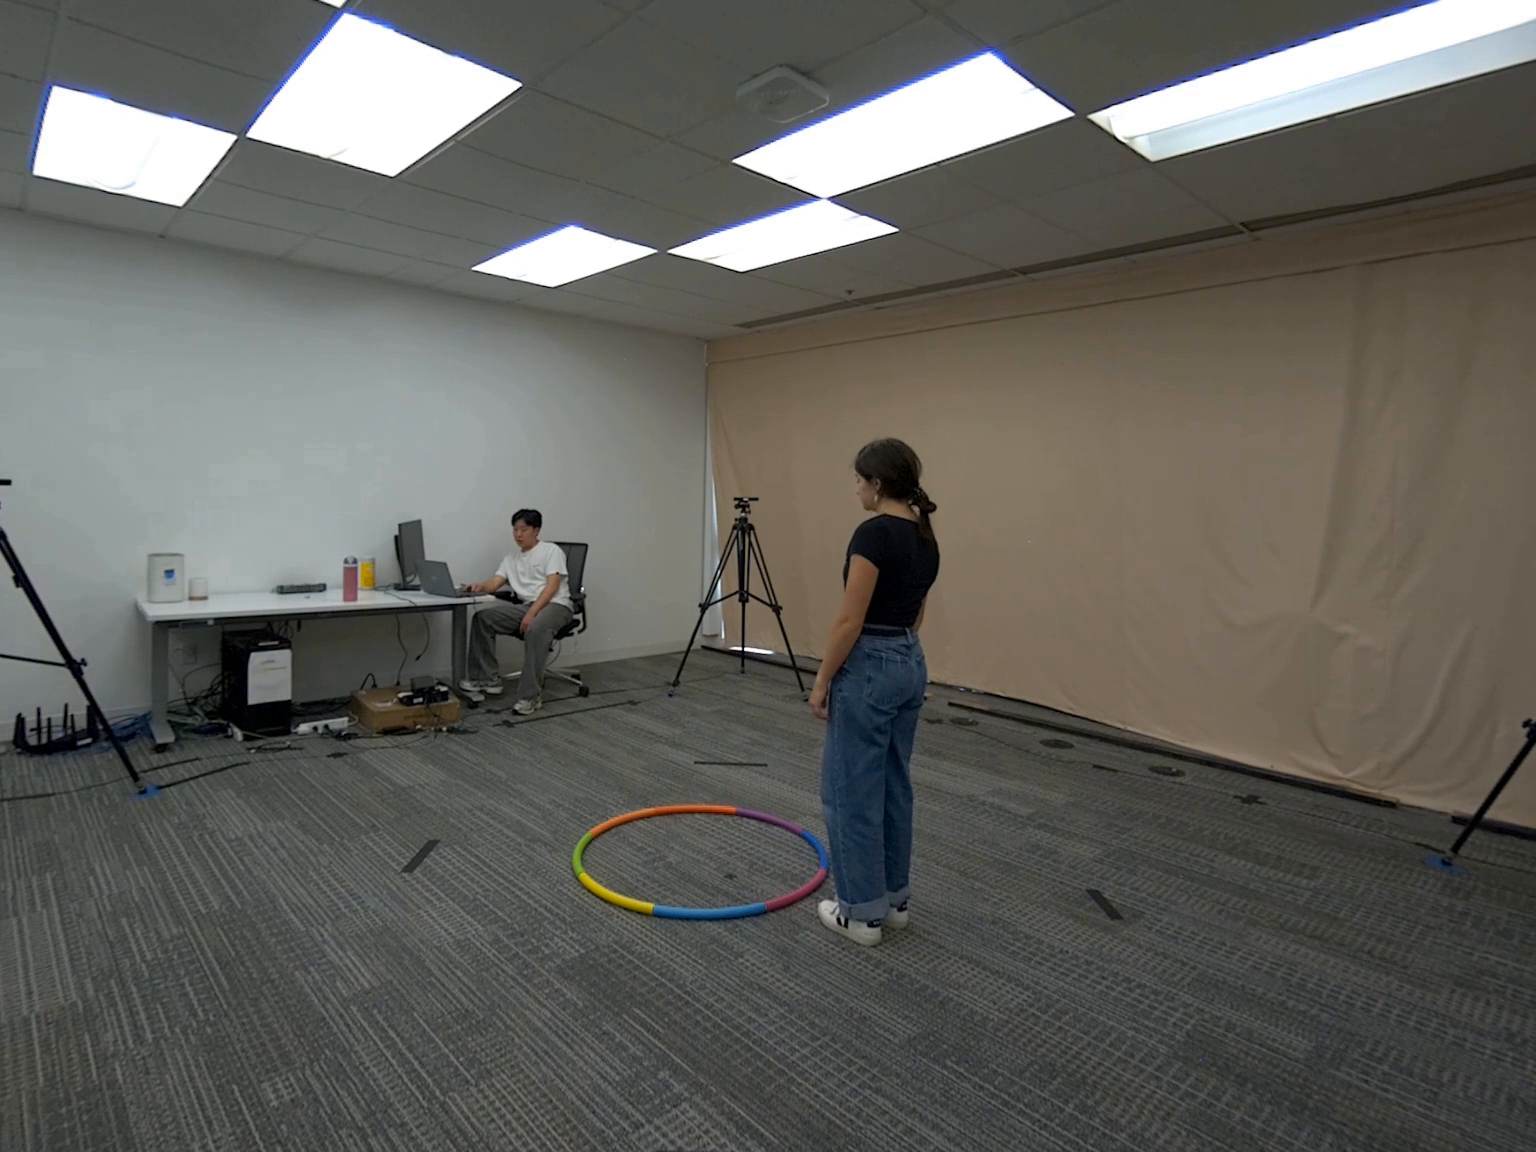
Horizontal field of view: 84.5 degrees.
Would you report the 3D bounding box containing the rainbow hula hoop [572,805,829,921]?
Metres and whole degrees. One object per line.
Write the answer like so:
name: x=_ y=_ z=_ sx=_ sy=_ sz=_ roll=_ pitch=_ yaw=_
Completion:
rainbow hula hoop: x=-0.261 y=1.065 z=3.252 sx=0.978 sy=0.035 sz=0.982 roll=1 pitch=5 yaw=-1
